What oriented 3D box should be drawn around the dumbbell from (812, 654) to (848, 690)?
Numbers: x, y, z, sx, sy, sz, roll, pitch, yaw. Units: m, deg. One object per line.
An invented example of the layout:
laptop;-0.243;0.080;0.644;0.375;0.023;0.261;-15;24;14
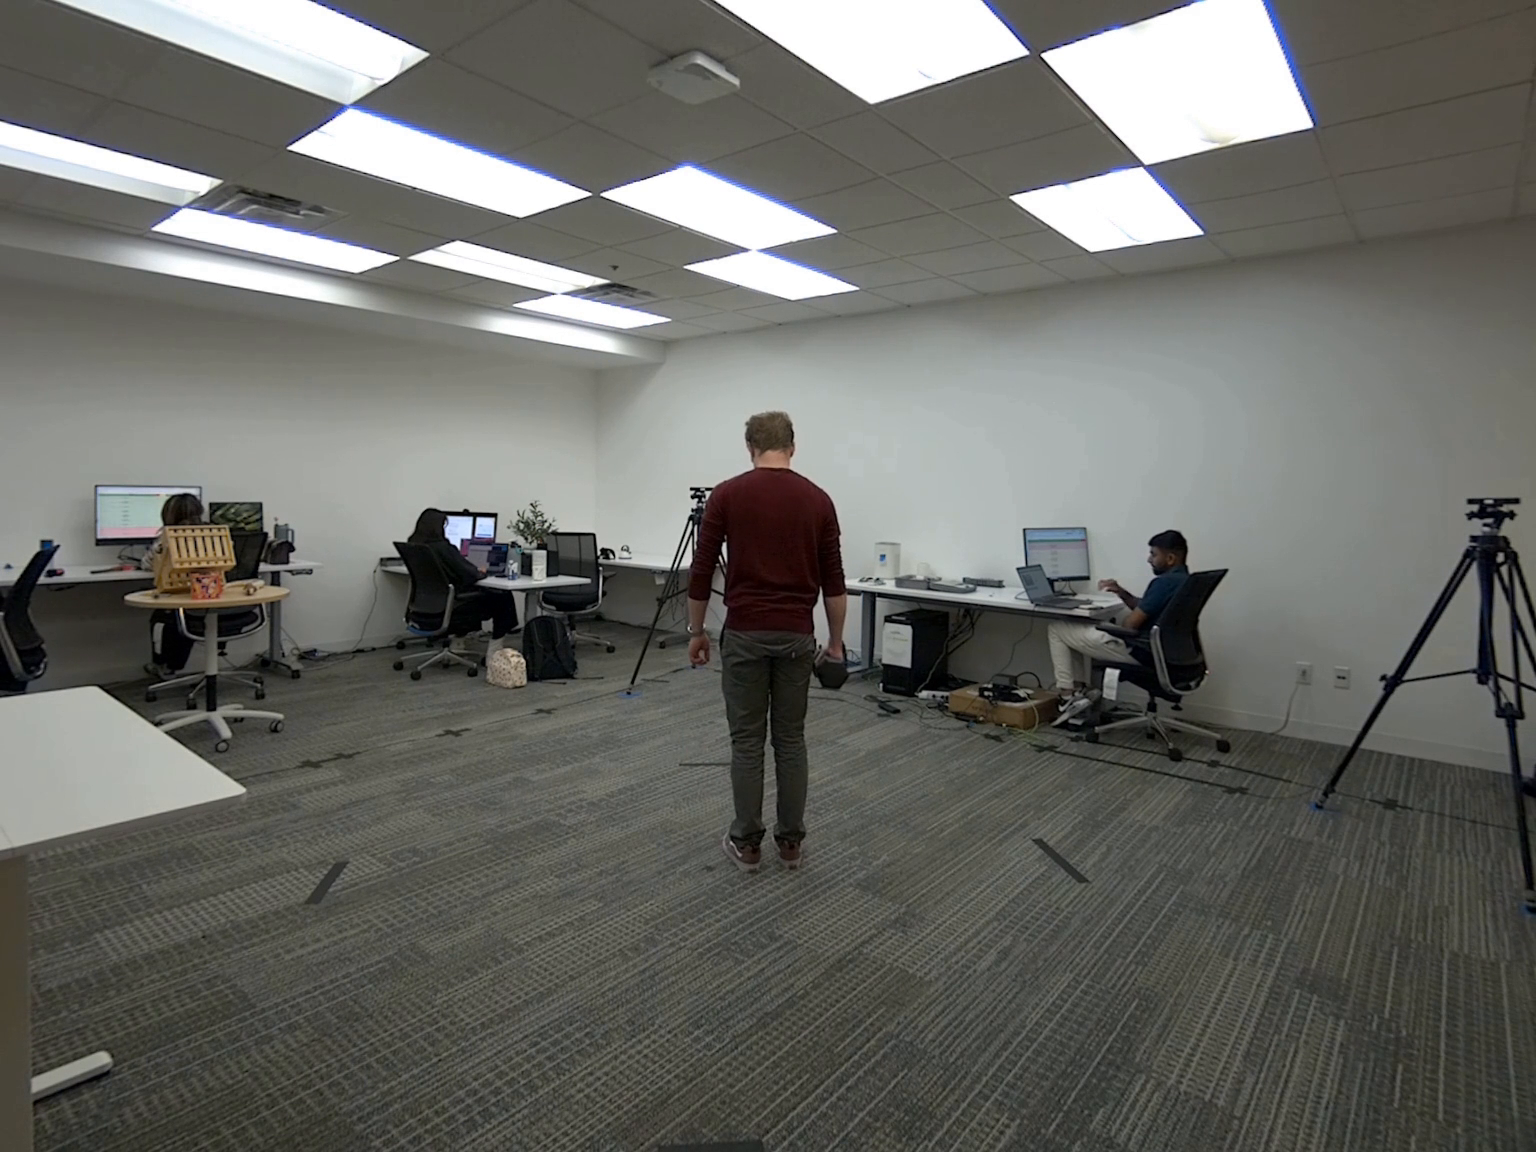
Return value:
dumbbell;0.224;0.344;3.235;0.109;0.122;0.294;-24;5;0
